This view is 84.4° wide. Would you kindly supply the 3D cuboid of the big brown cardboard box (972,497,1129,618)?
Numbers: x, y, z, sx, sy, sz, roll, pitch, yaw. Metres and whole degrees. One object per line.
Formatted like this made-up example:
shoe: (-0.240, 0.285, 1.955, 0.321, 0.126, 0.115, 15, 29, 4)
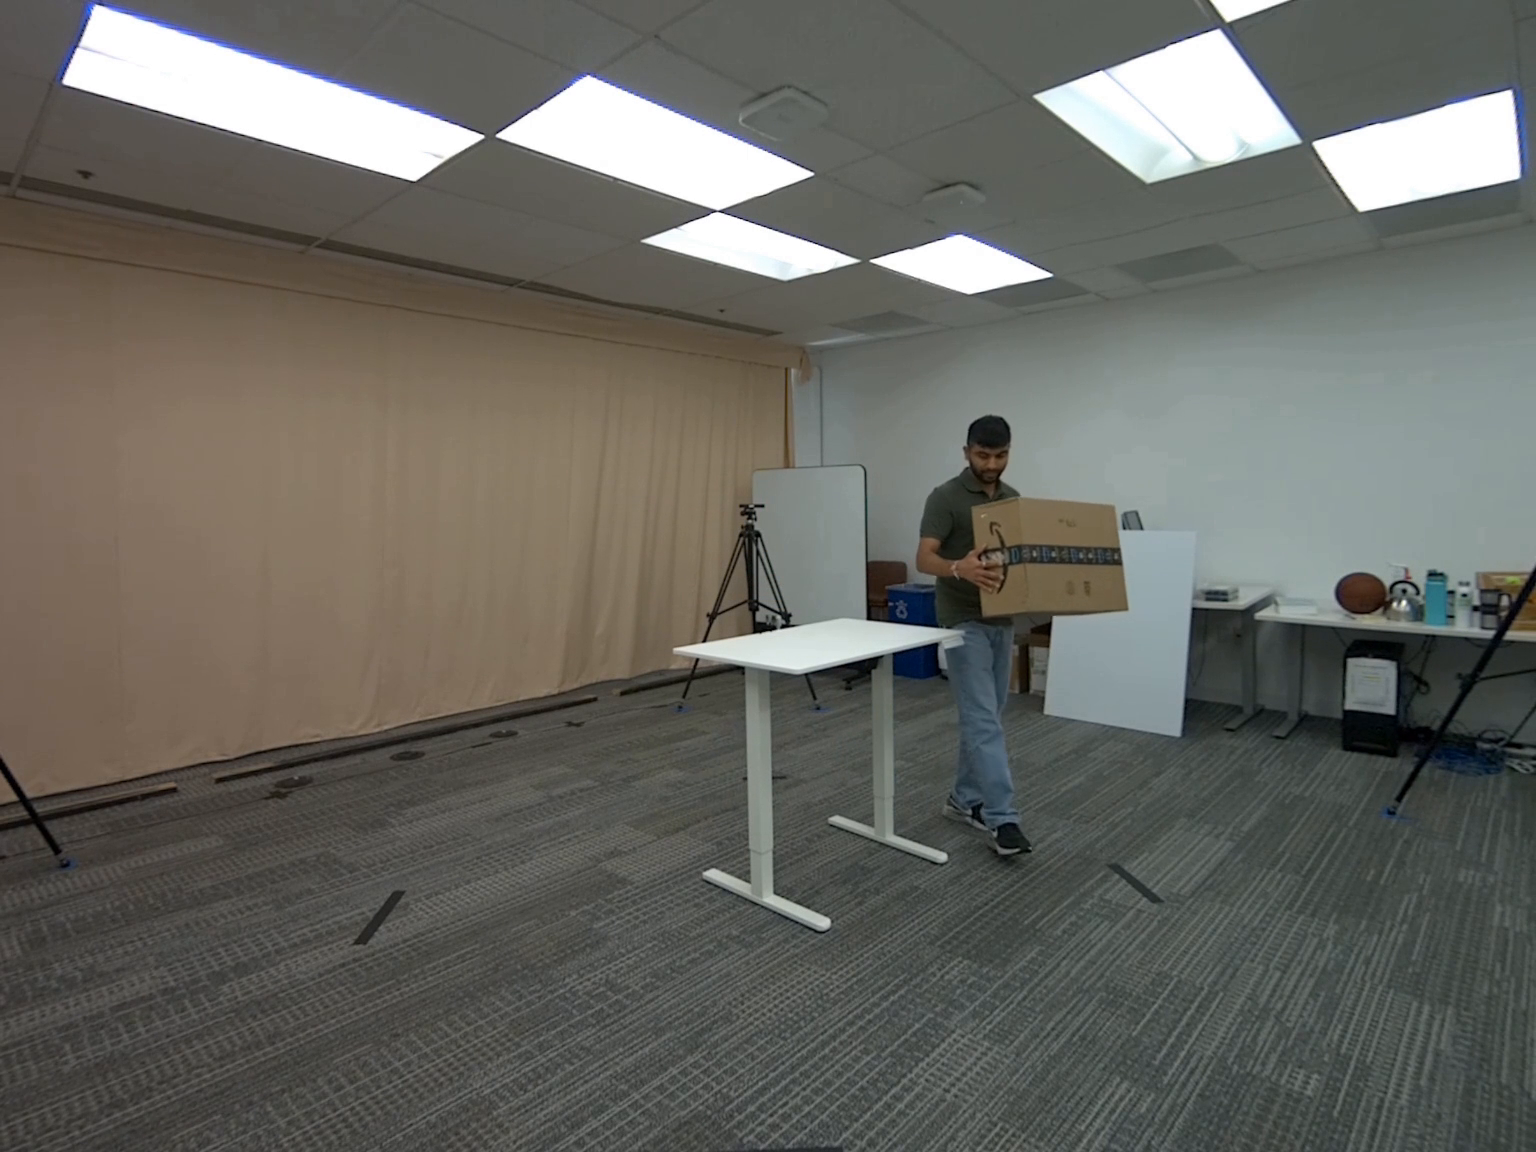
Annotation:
big brown cardboard box: (1.065, -0.058, 3.203, 0.572, 0.420, 0.238, 2, -9, -30)
